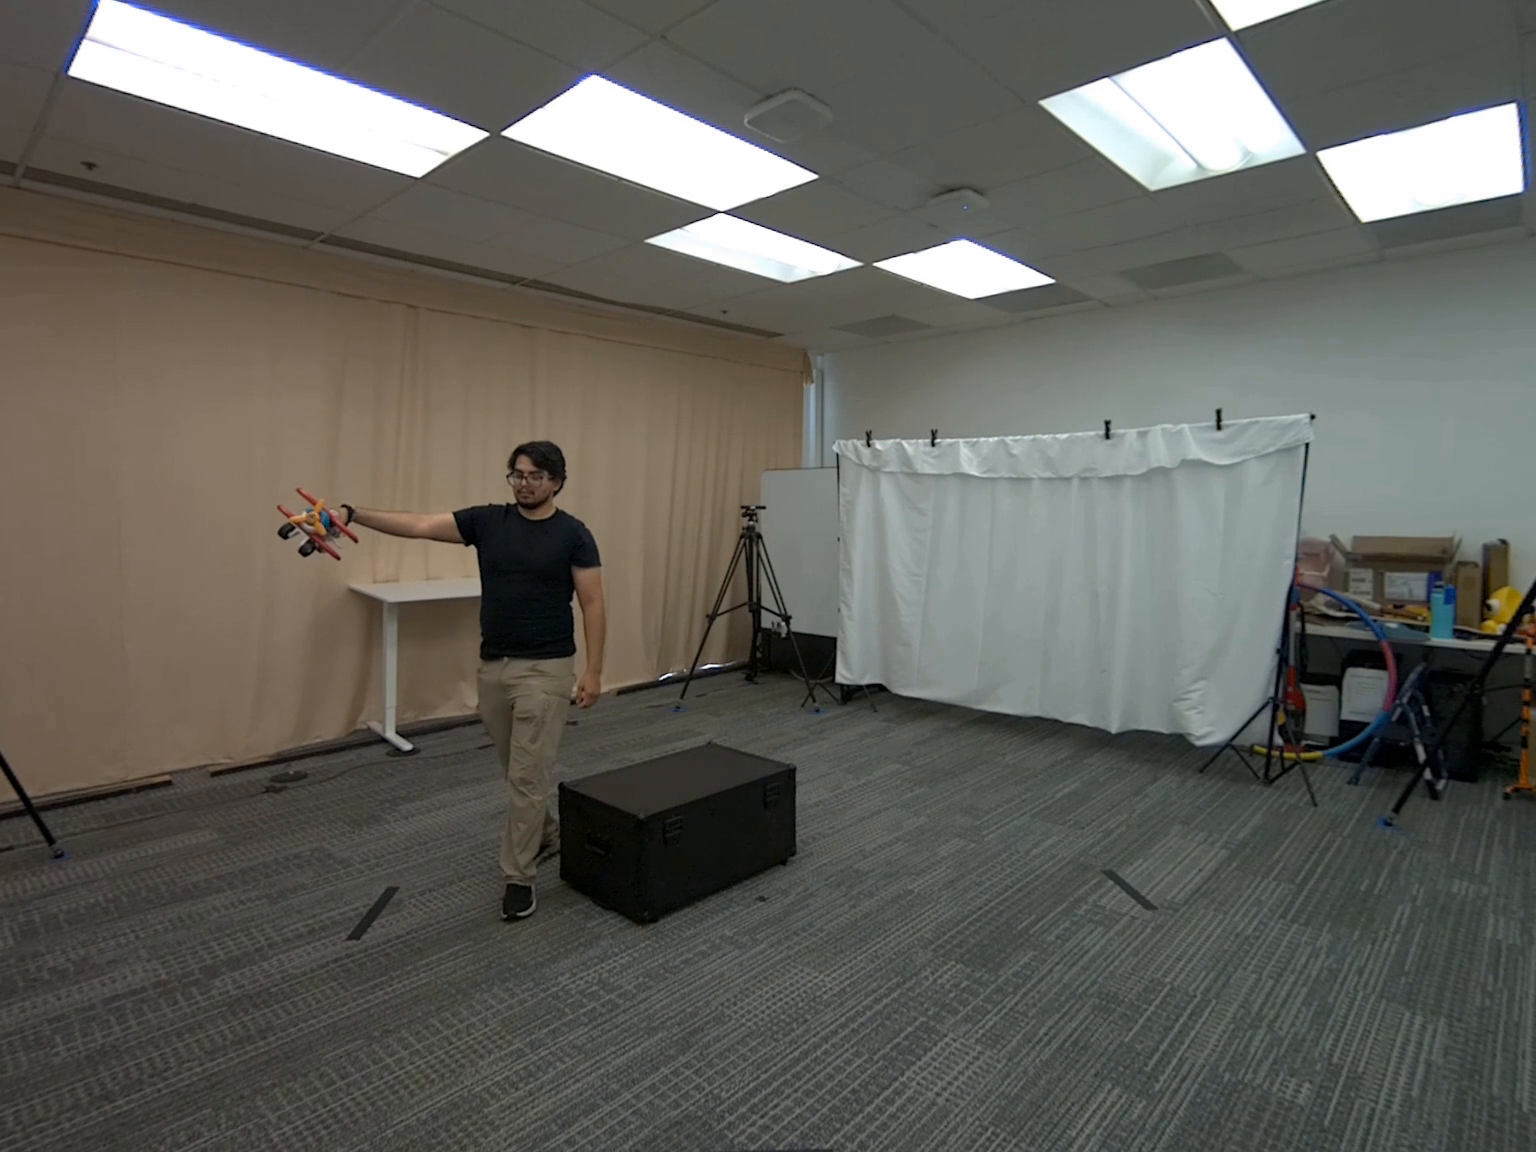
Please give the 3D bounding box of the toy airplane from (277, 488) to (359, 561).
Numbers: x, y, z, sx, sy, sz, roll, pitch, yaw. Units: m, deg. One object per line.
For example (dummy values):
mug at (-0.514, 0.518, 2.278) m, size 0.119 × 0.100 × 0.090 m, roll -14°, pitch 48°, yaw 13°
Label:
toy airplane at (-1.486, -0.164, 2.744) m, size 0.243 × 0.156 × 0.268 m, roll 44°, pitch -5°, yaw -31°
